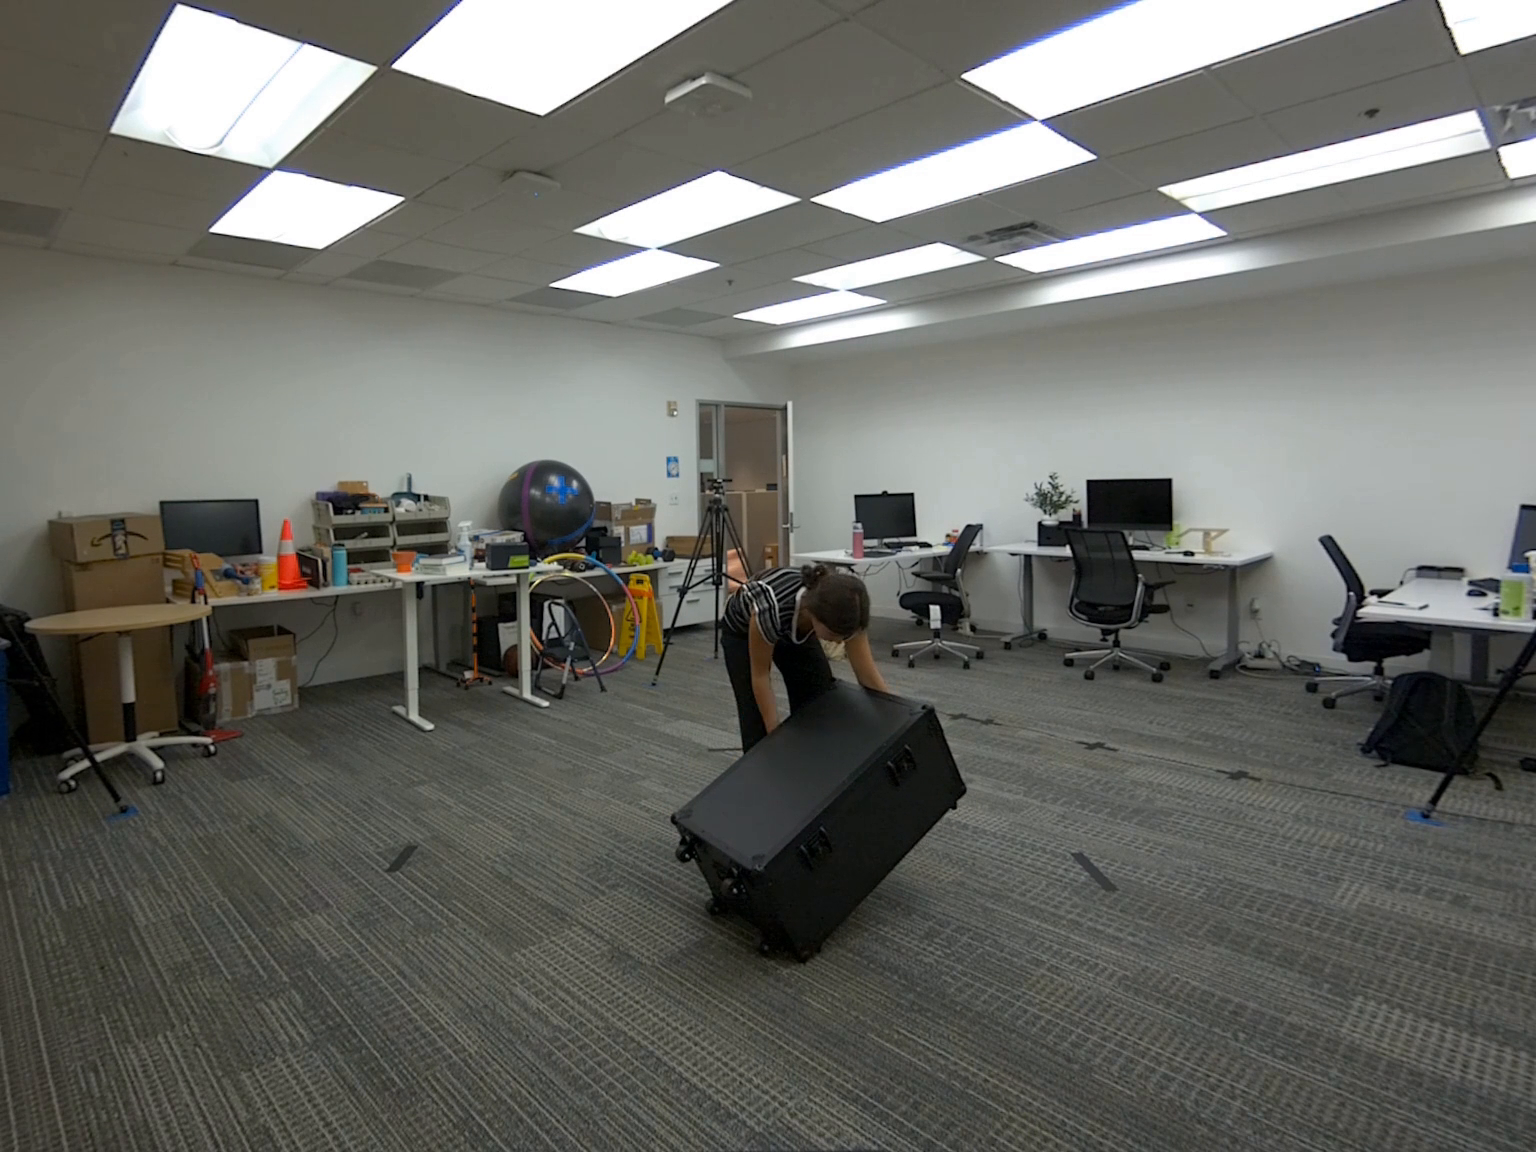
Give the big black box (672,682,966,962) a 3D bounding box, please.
[{"bbox_3d":[0.156,0.773,2.763,0.855,0.388,0.536,-34,21,-26],"label":"big black box"}]
